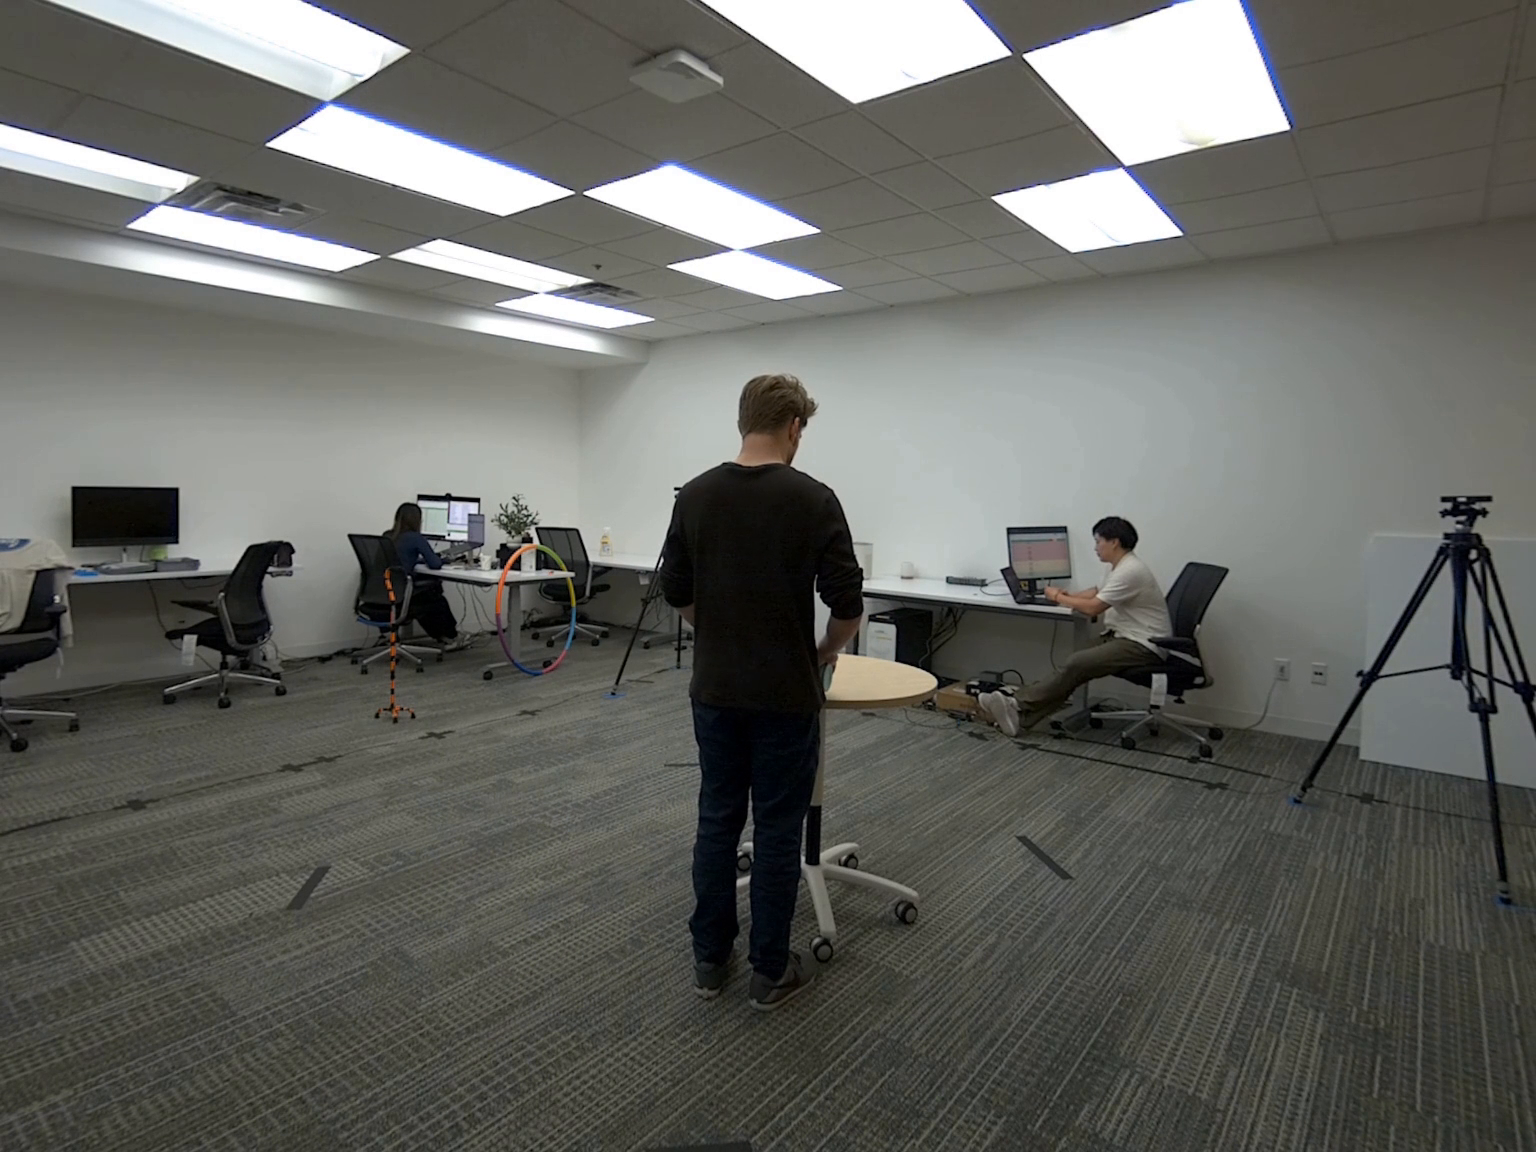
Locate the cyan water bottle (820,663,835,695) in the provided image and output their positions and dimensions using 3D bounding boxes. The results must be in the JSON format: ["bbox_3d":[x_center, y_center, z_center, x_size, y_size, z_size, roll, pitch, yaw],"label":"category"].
[{"bbox_3d":[0.041,0.282,2.532,0.290,0.092,0.090,4,5,23],"label":"cyan water bottle"}]
